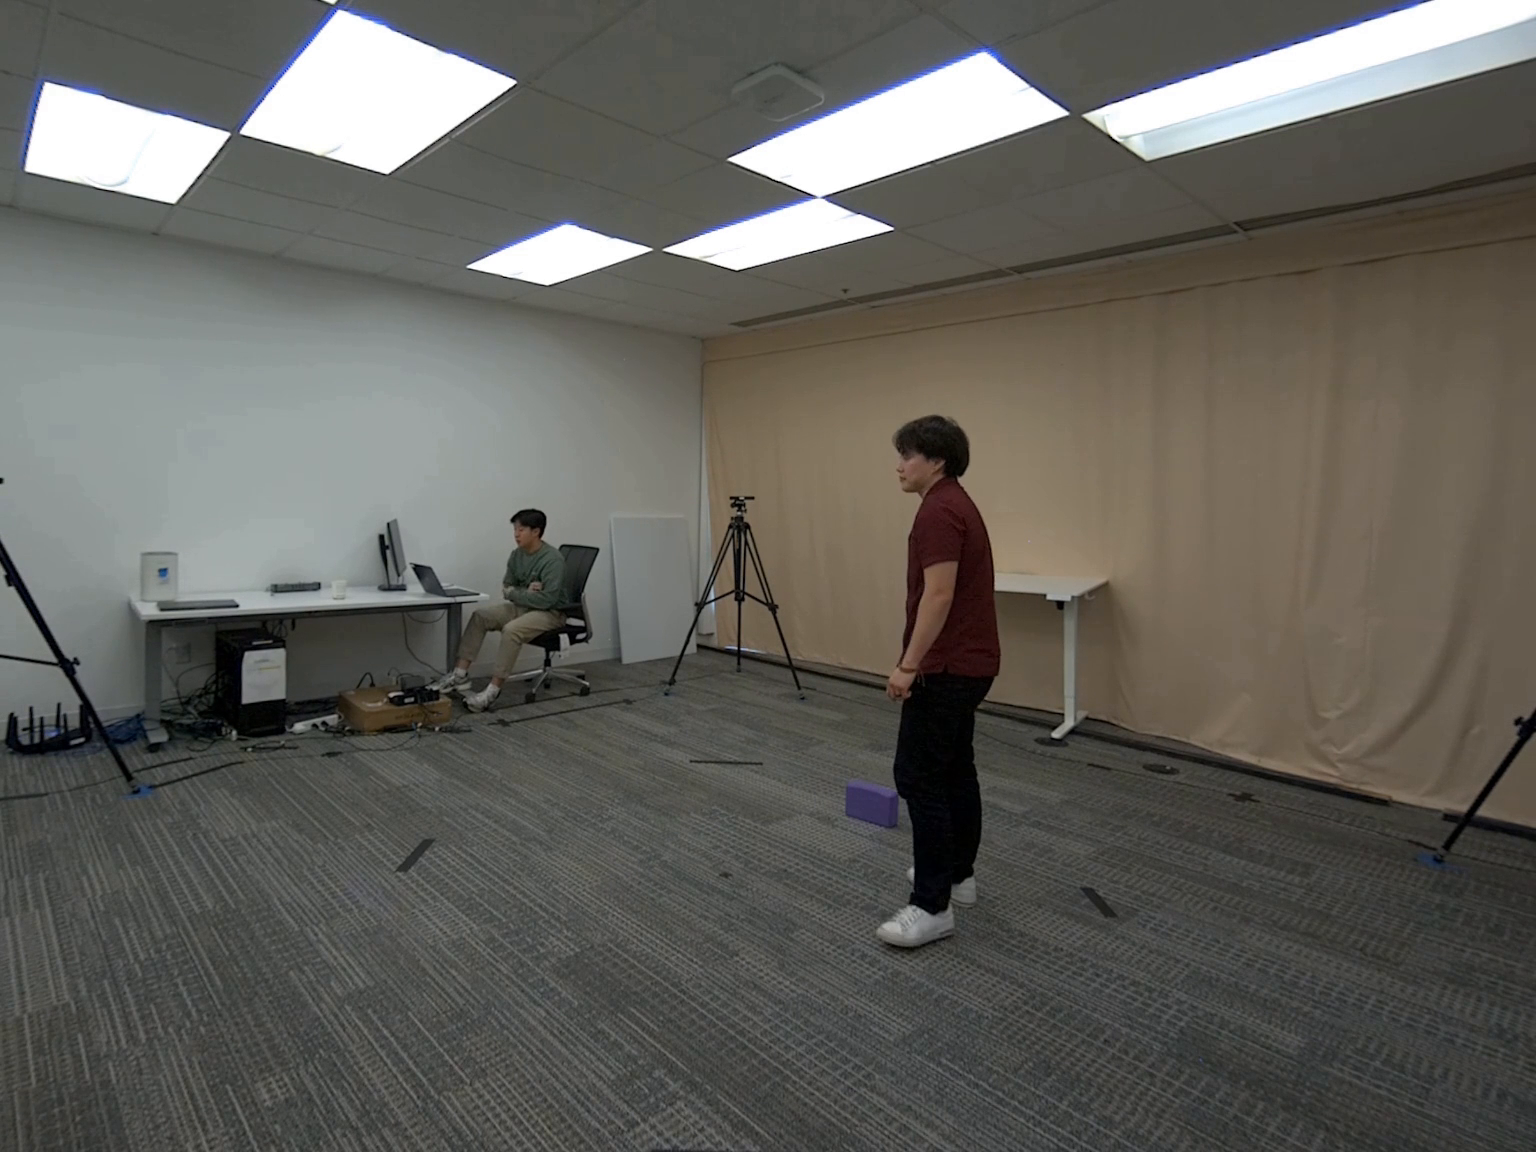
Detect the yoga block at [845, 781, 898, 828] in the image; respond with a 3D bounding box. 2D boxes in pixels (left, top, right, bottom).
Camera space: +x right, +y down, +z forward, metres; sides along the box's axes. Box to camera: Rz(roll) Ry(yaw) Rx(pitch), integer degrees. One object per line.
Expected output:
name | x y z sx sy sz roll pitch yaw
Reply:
yoga block | 0.442 0.992 3.685 0.235 0.148 0.075 6 6 39
